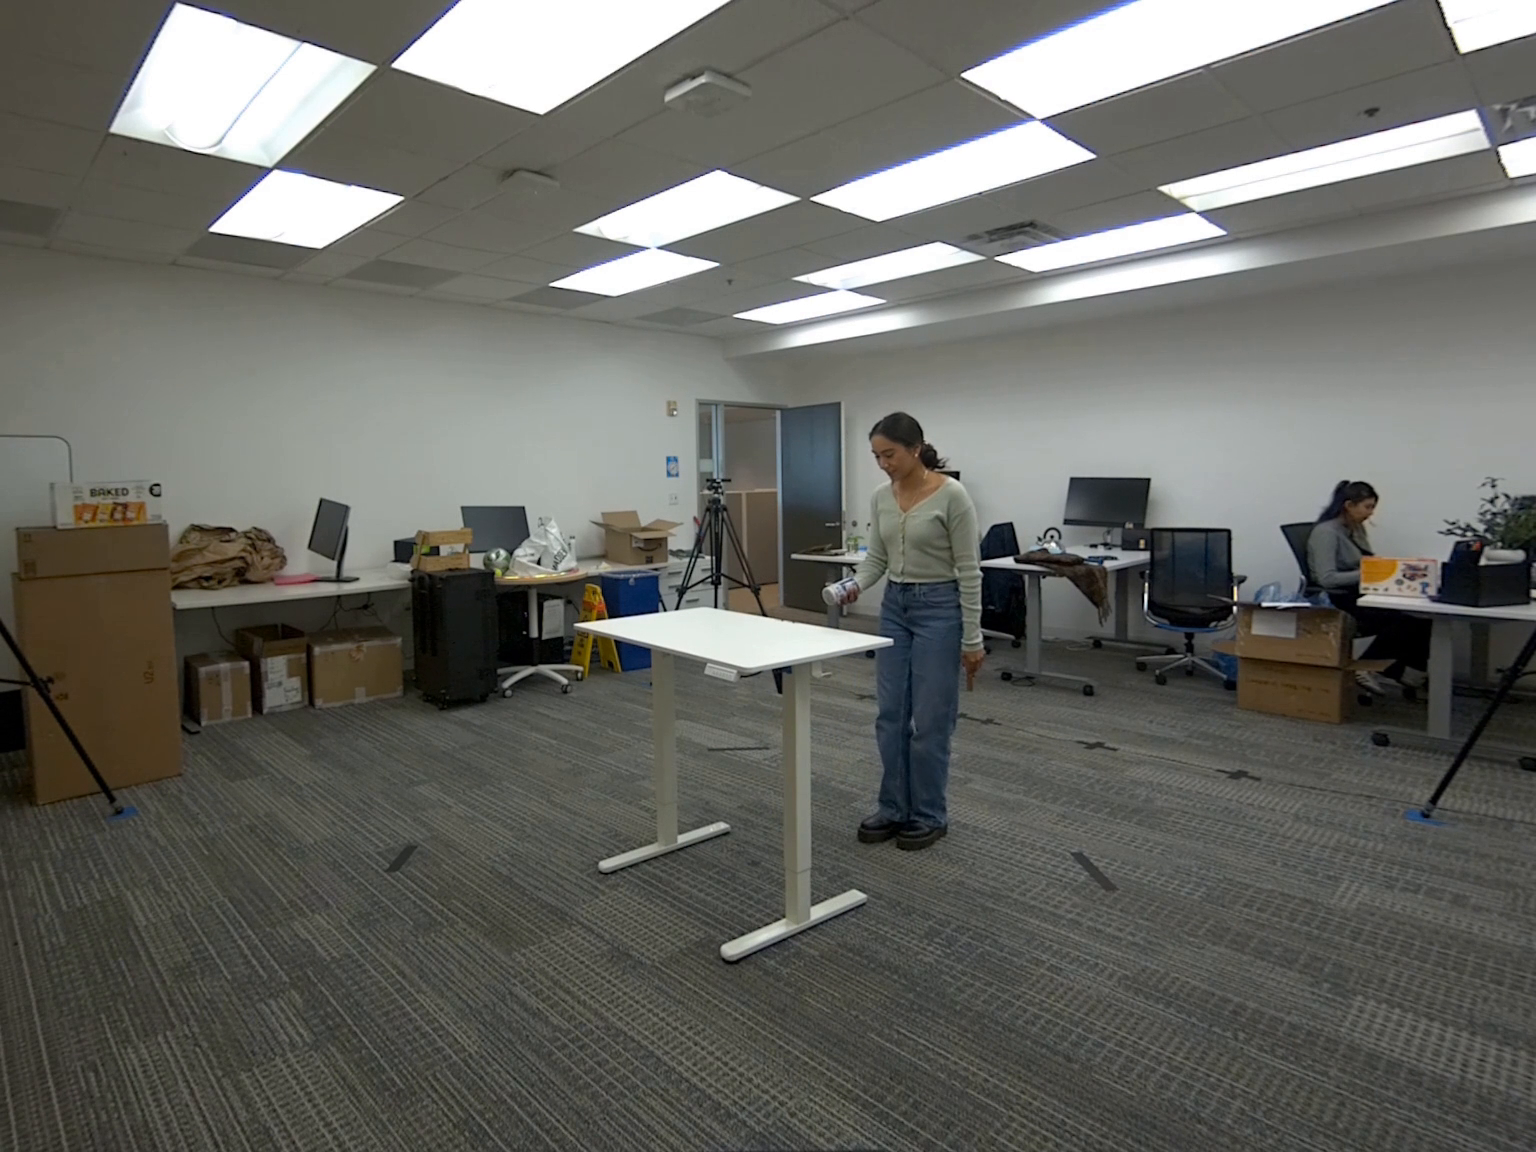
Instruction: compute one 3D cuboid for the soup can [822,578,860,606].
[{"bbox_3d":[0.264,0.049,3.083,0.120,0.066,0.068,-19,10,-17],"label":"soup can"}]
